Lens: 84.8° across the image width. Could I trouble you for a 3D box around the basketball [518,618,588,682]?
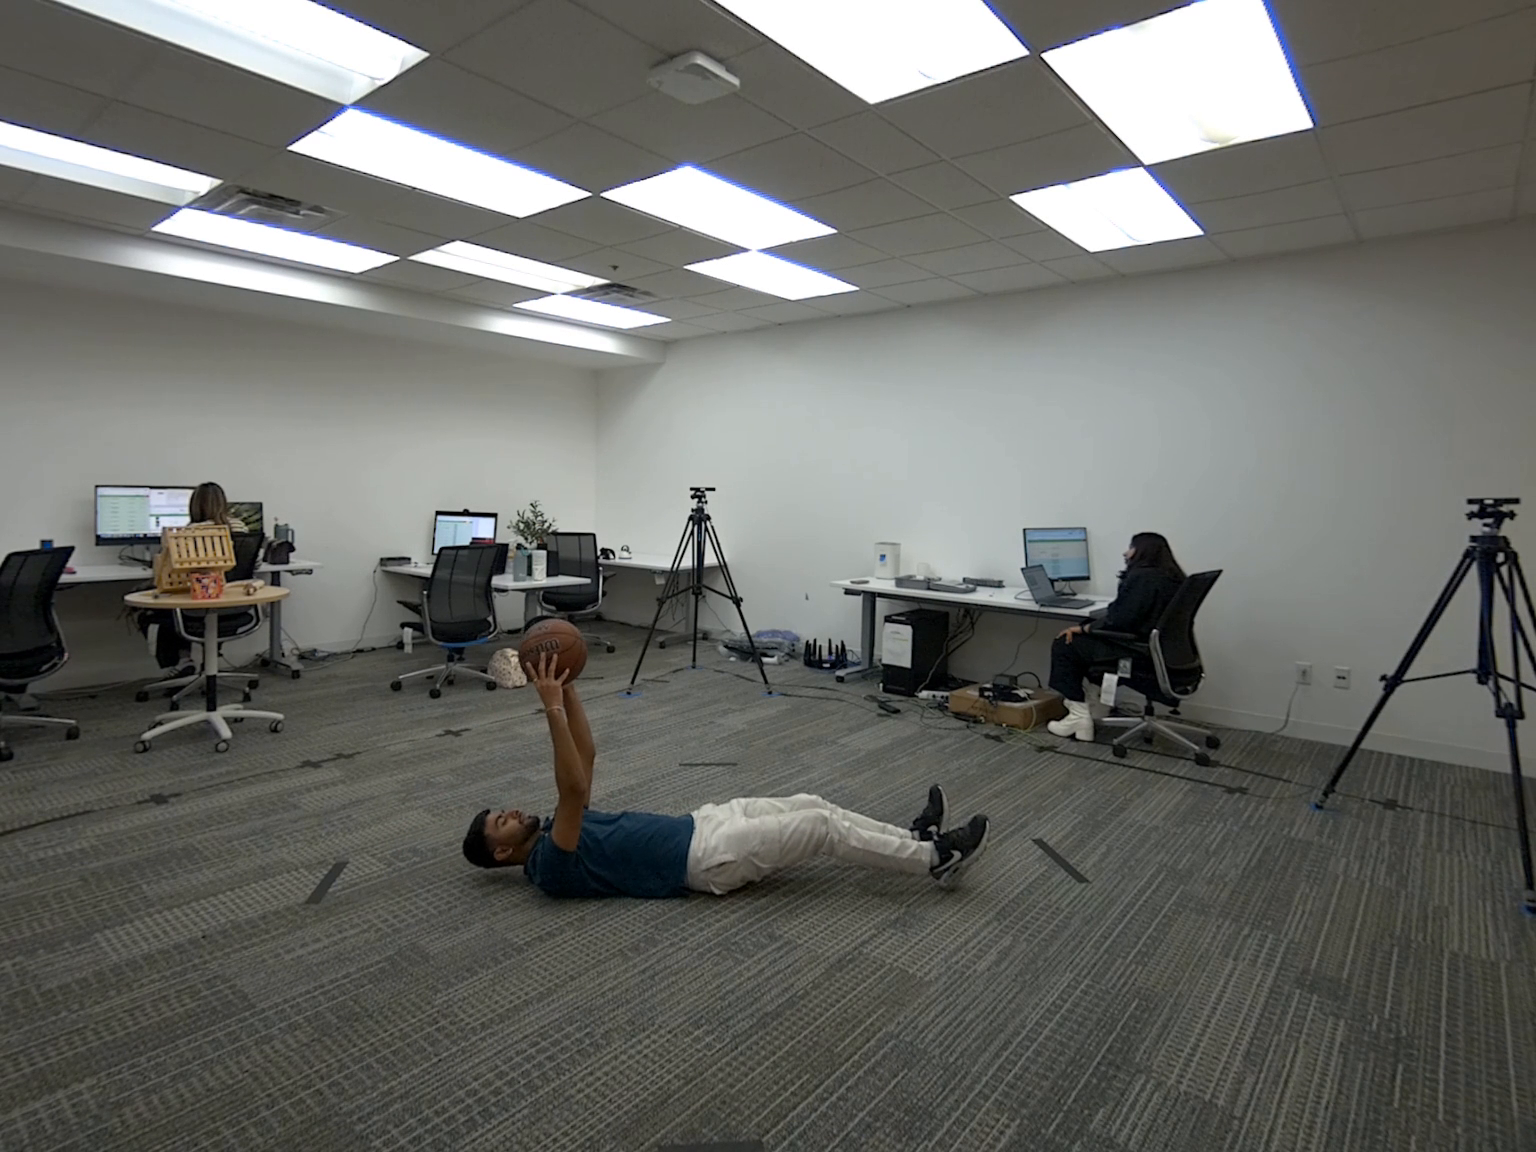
[{"bbox_3d":[-0.778,0.272,2.979,0.235,0.235,0.237,1,4,-2],"label":"basketball"}]
